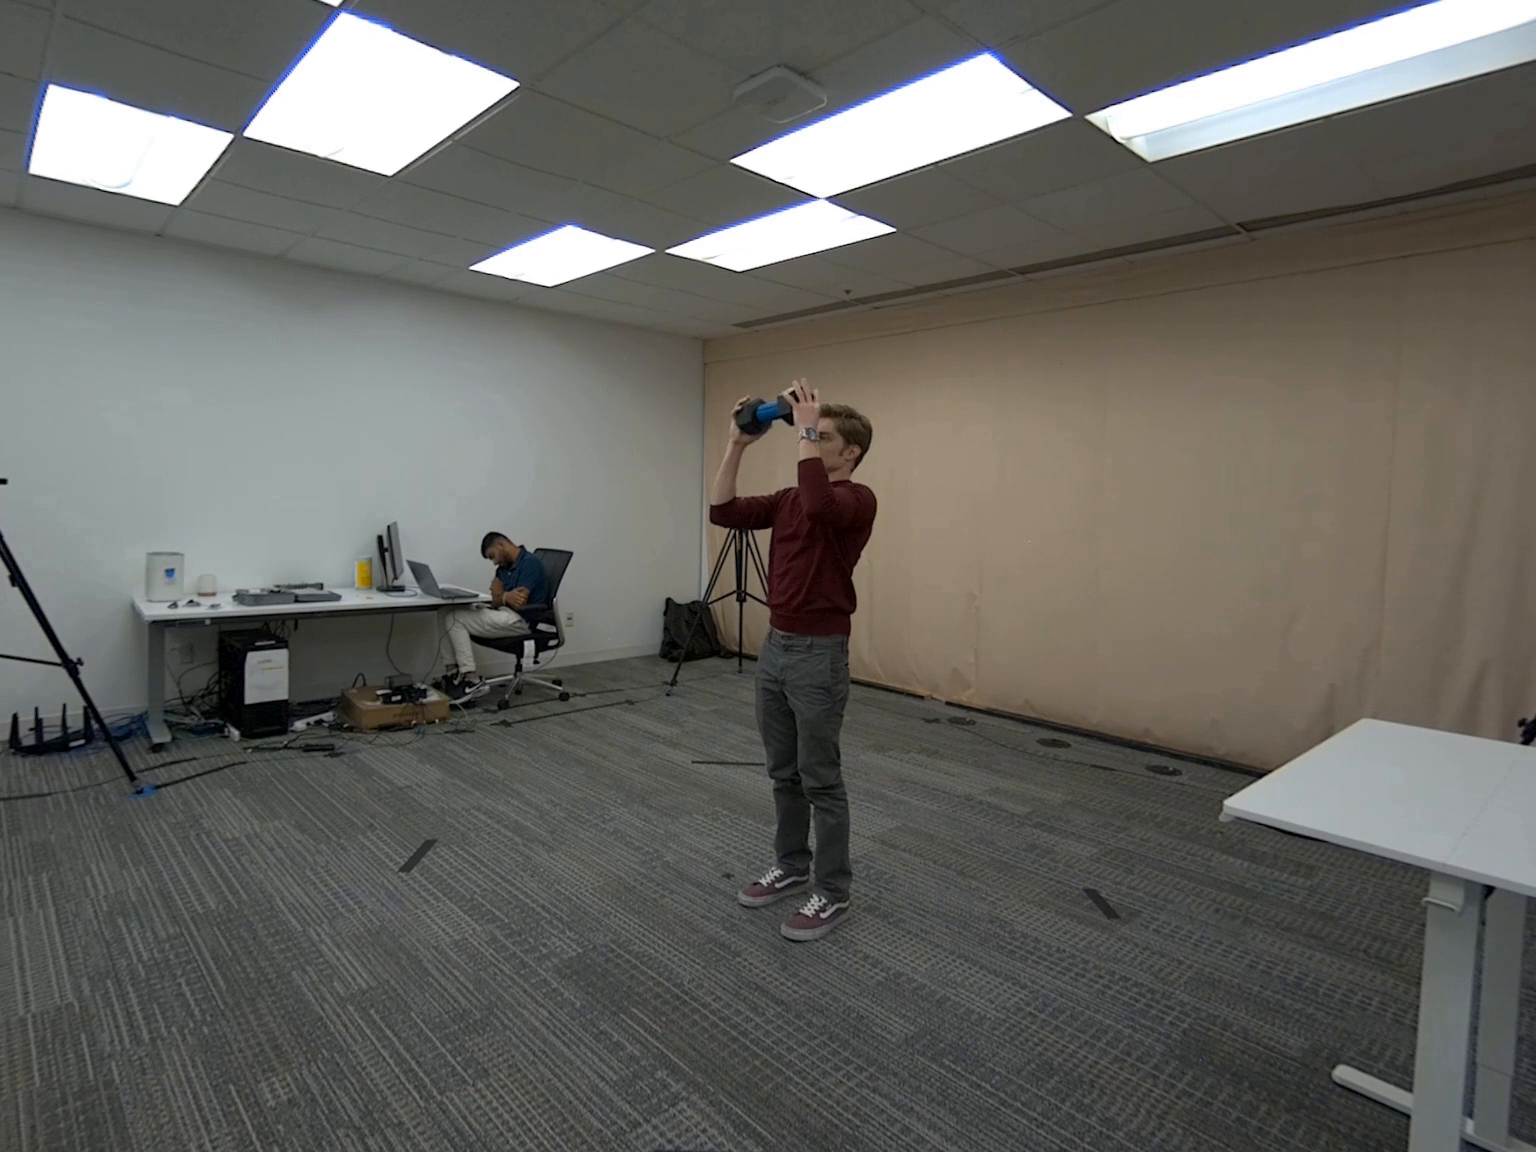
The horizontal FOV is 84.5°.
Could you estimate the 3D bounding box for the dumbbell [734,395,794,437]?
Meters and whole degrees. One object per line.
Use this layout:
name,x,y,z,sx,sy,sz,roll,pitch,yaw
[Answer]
dumbbell,0.024,-0.537,2.737,0.106,0.123,0.300,-1,-2,-37
